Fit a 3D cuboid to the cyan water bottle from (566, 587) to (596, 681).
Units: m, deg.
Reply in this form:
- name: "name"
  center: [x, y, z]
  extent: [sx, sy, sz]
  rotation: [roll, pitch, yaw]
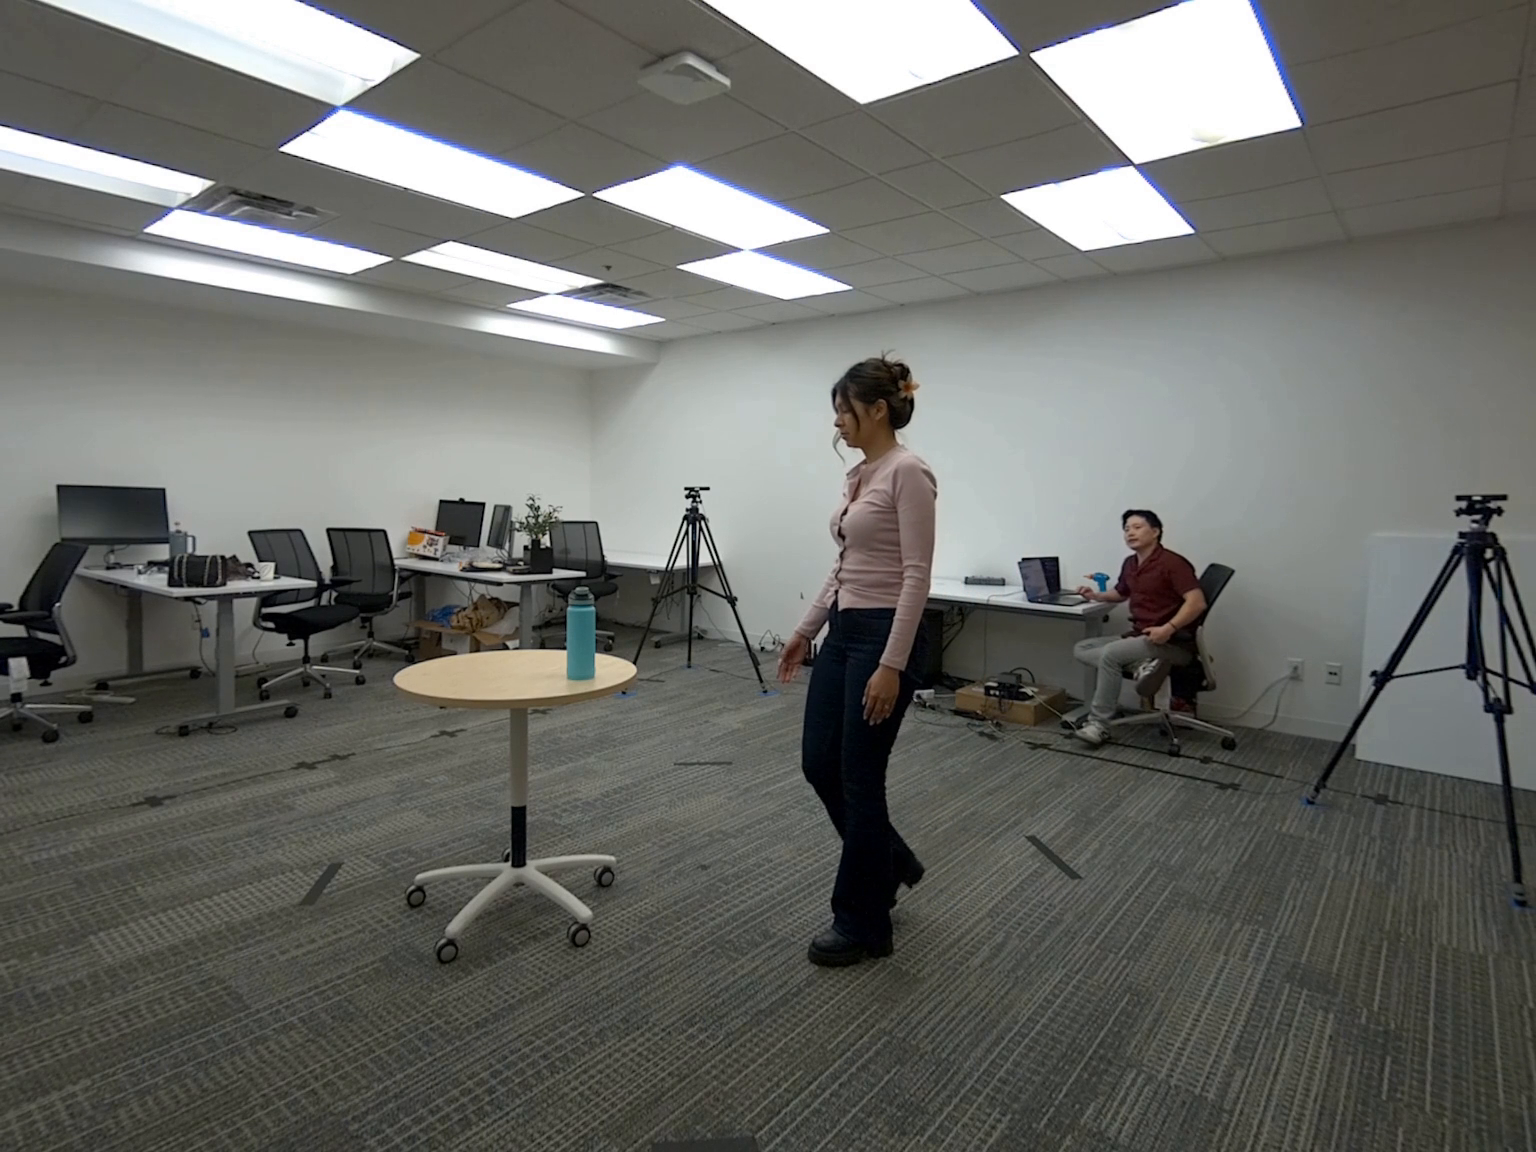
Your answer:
- name: "cyan water bottle"
  center: [-0.611, 0.180, 2.675]
  extent: [0.092, 0.282, 0.093]
  rotation: [0, 4, -2]
